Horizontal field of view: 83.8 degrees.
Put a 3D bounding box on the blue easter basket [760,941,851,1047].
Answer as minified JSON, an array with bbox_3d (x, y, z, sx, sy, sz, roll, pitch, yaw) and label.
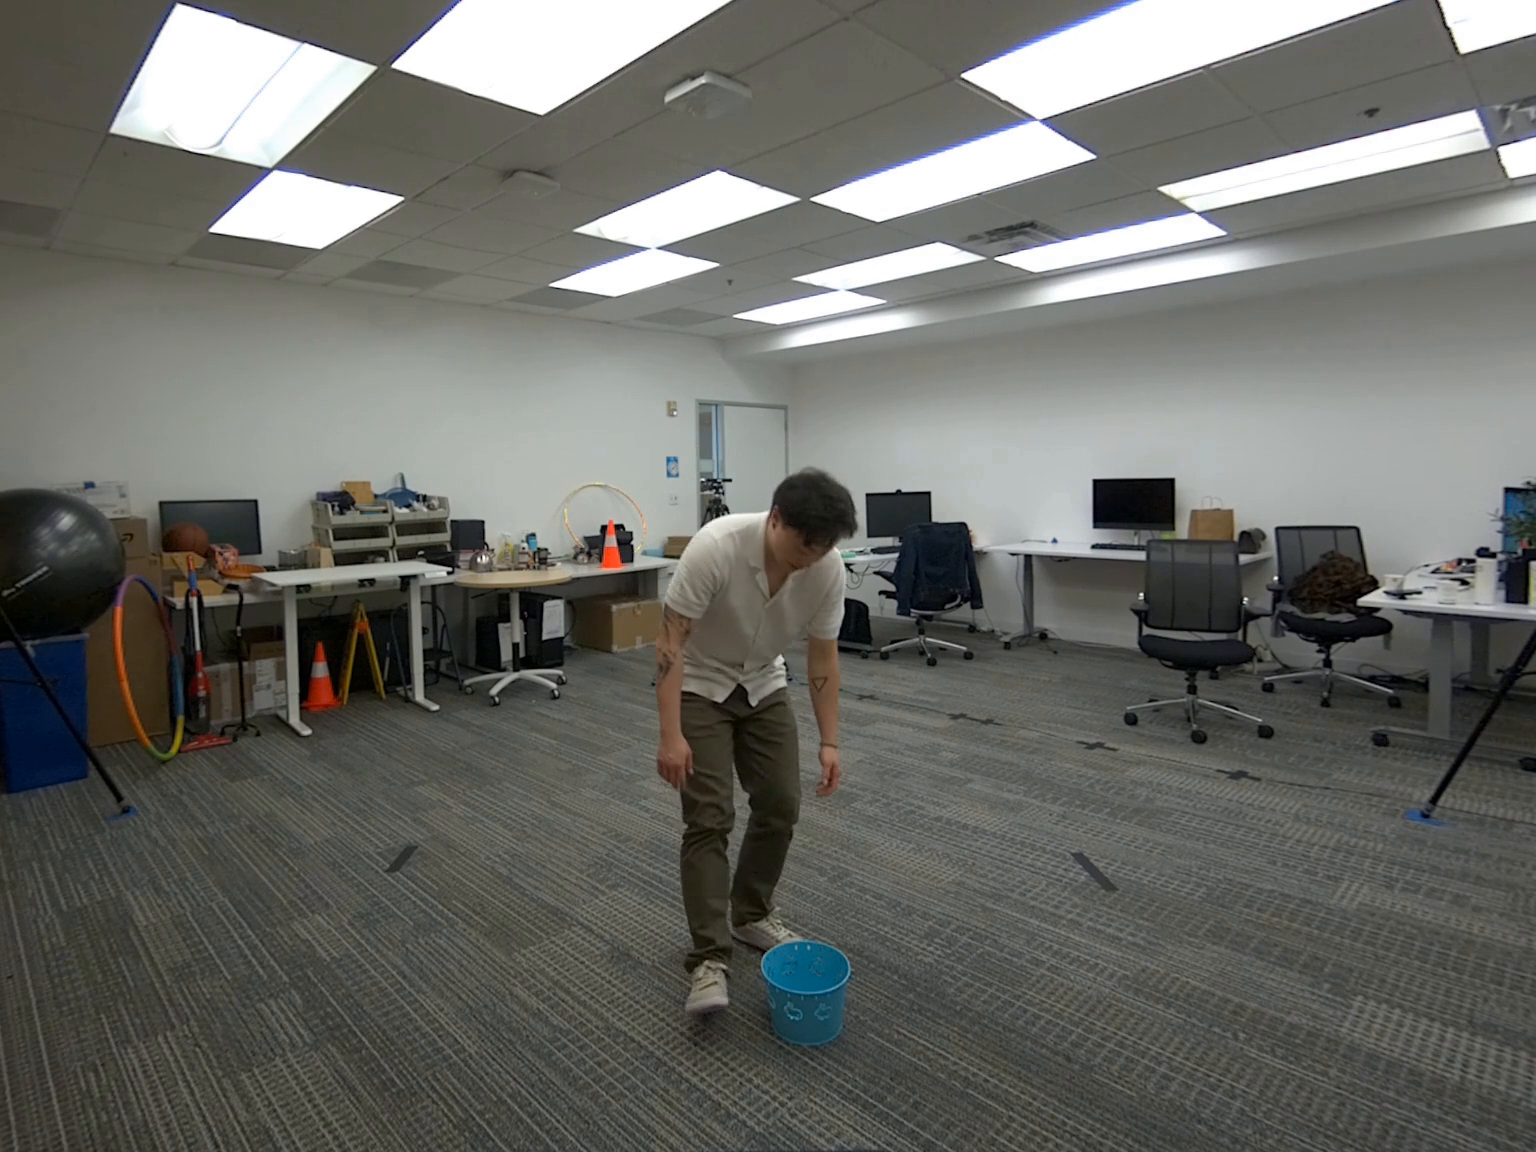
[{"bbox_3d":[0.100,1.065,2.205,0.243,0.155,0.245,0,6,-2],"label":"blue easter basket"}]
